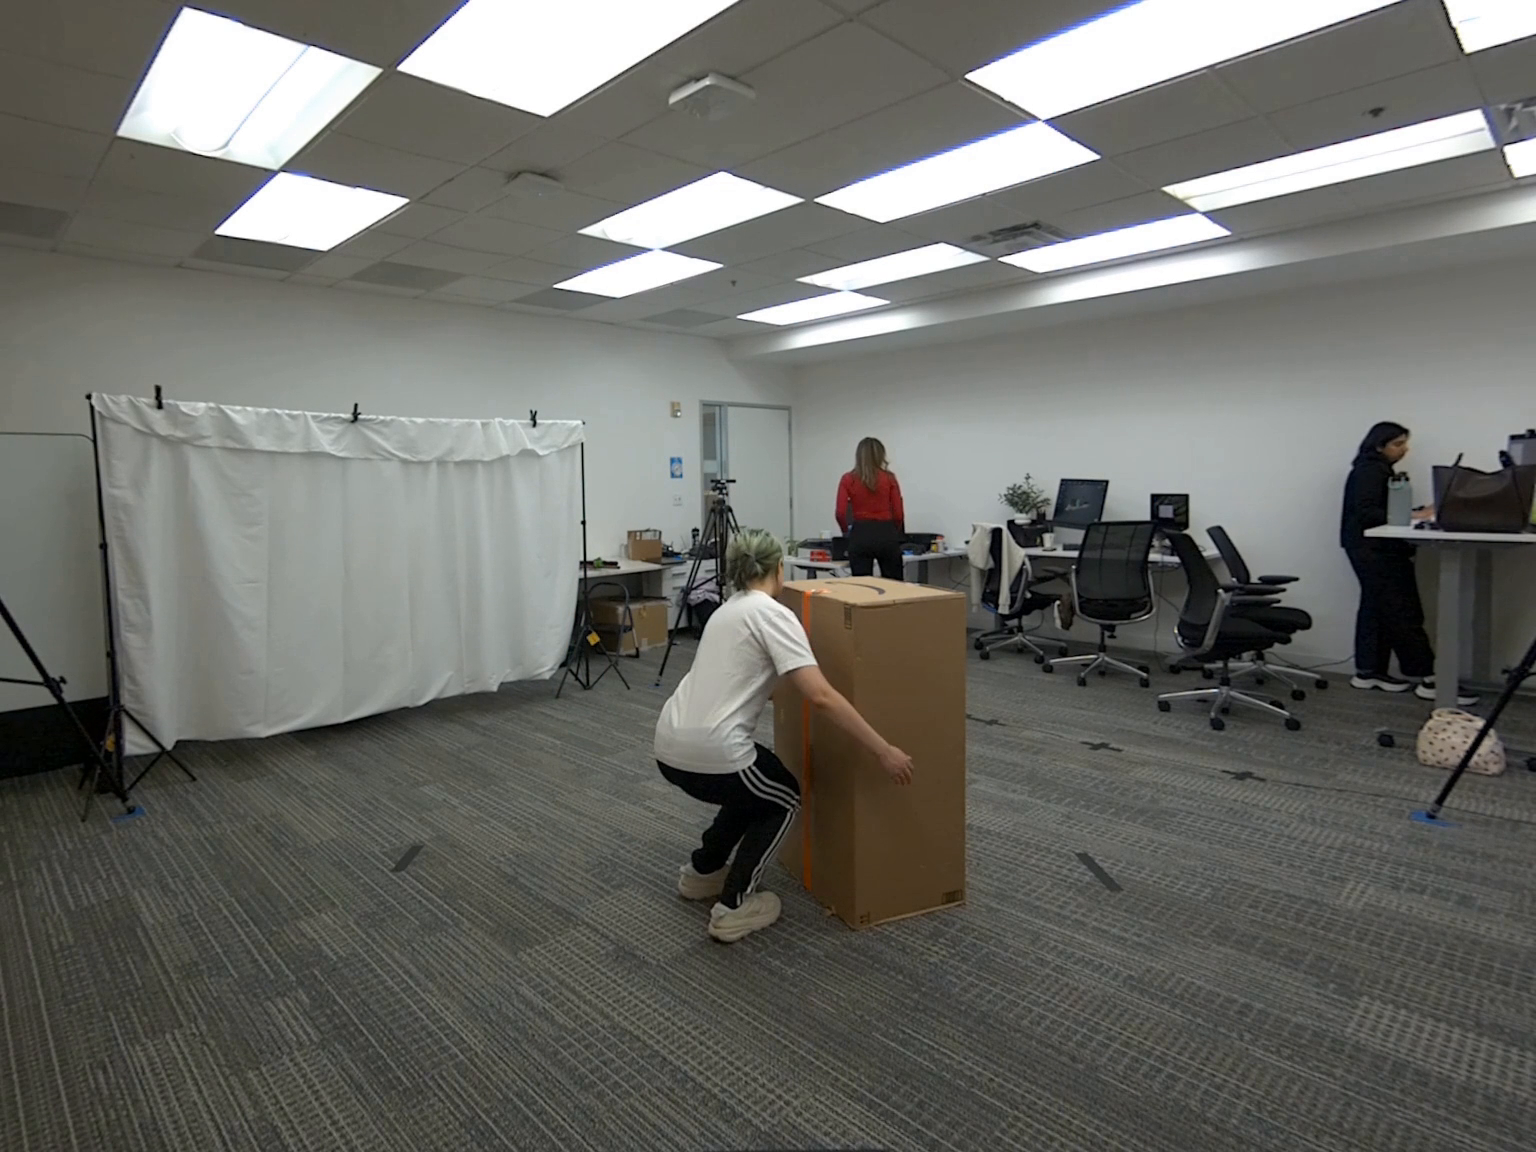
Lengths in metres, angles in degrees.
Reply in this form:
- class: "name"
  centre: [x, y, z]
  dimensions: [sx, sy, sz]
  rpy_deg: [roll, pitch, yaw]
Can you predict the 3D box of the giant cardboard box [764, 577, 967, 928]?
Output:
- class: "giant cardboard box"
  centre: [0.333, 0.551, 2.944]
  dimensions: [0.437, 1.023, 0.598]
  rpy_deg: [-2, 5, -25]
